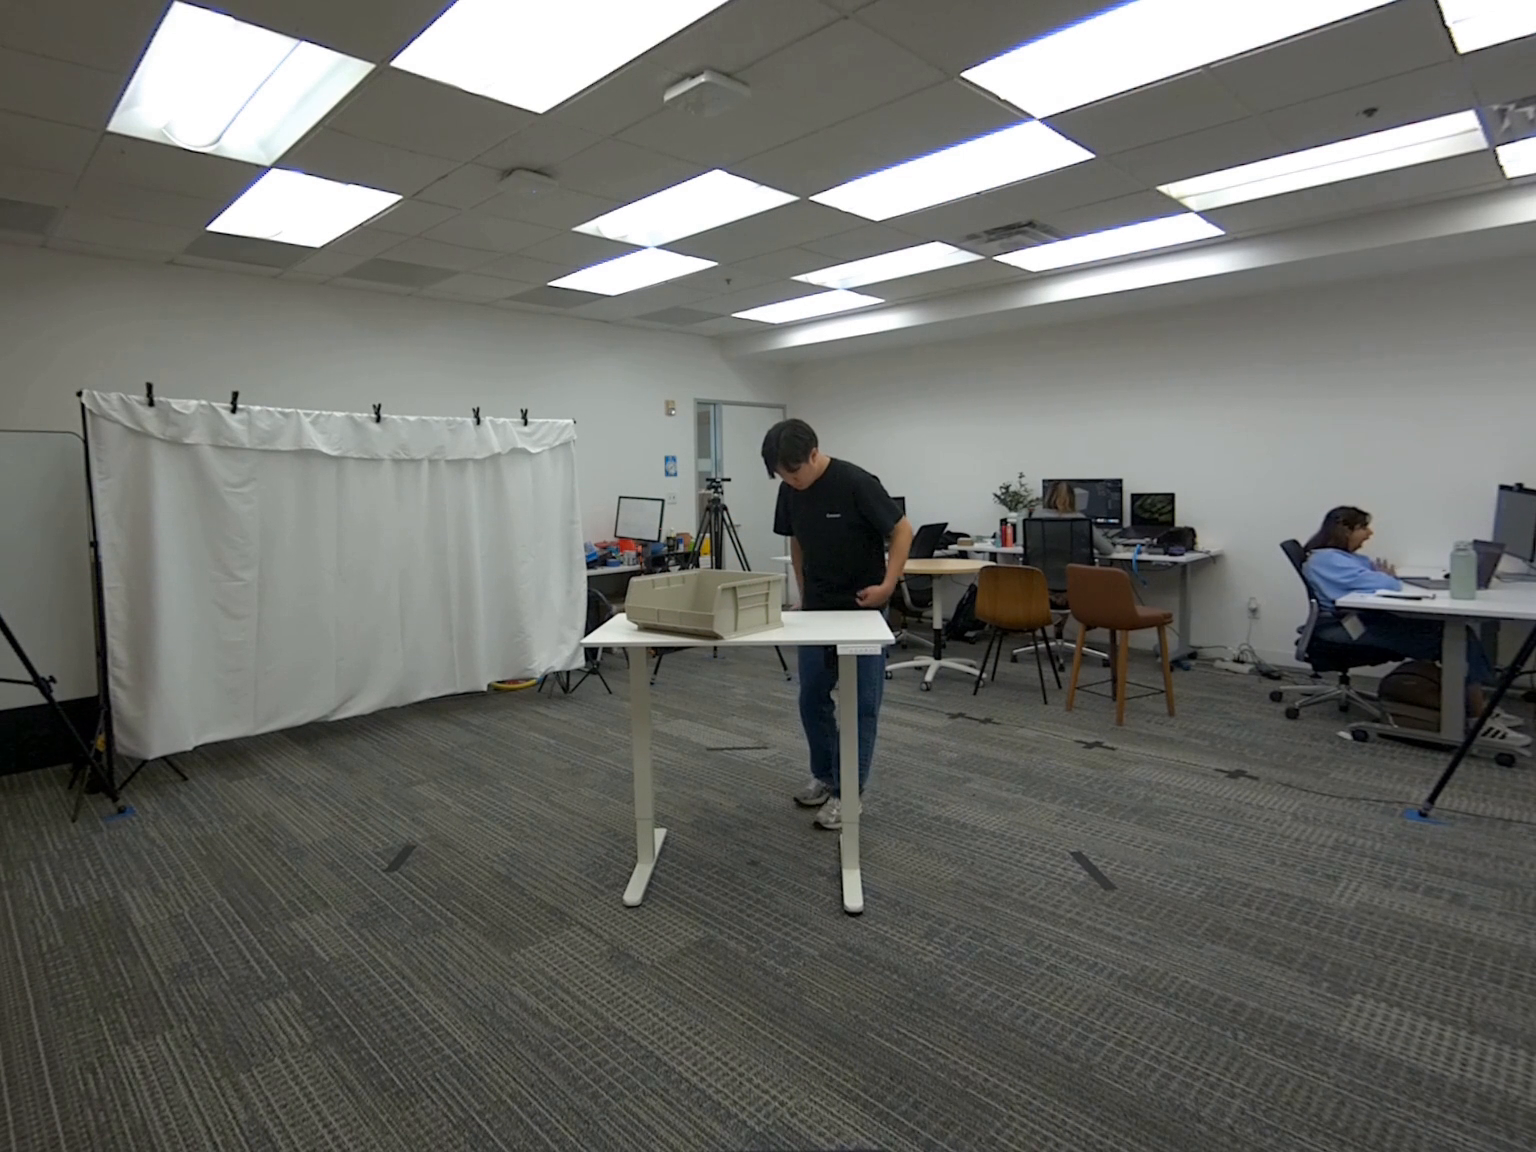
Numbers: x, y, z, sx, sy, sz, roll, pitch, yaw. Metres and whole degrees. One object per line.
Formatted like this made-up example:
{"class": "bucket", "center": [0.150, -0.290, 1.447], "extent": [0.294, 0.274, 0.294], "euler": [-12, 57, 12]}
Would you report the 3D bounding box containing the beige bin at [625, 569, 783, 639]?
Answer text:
{"class": "beige bin", "center": [-0.215, 0.094, 2.942], "extent": [0.435, 0.188, 0.367], "euler": [3, 6, 40]}
